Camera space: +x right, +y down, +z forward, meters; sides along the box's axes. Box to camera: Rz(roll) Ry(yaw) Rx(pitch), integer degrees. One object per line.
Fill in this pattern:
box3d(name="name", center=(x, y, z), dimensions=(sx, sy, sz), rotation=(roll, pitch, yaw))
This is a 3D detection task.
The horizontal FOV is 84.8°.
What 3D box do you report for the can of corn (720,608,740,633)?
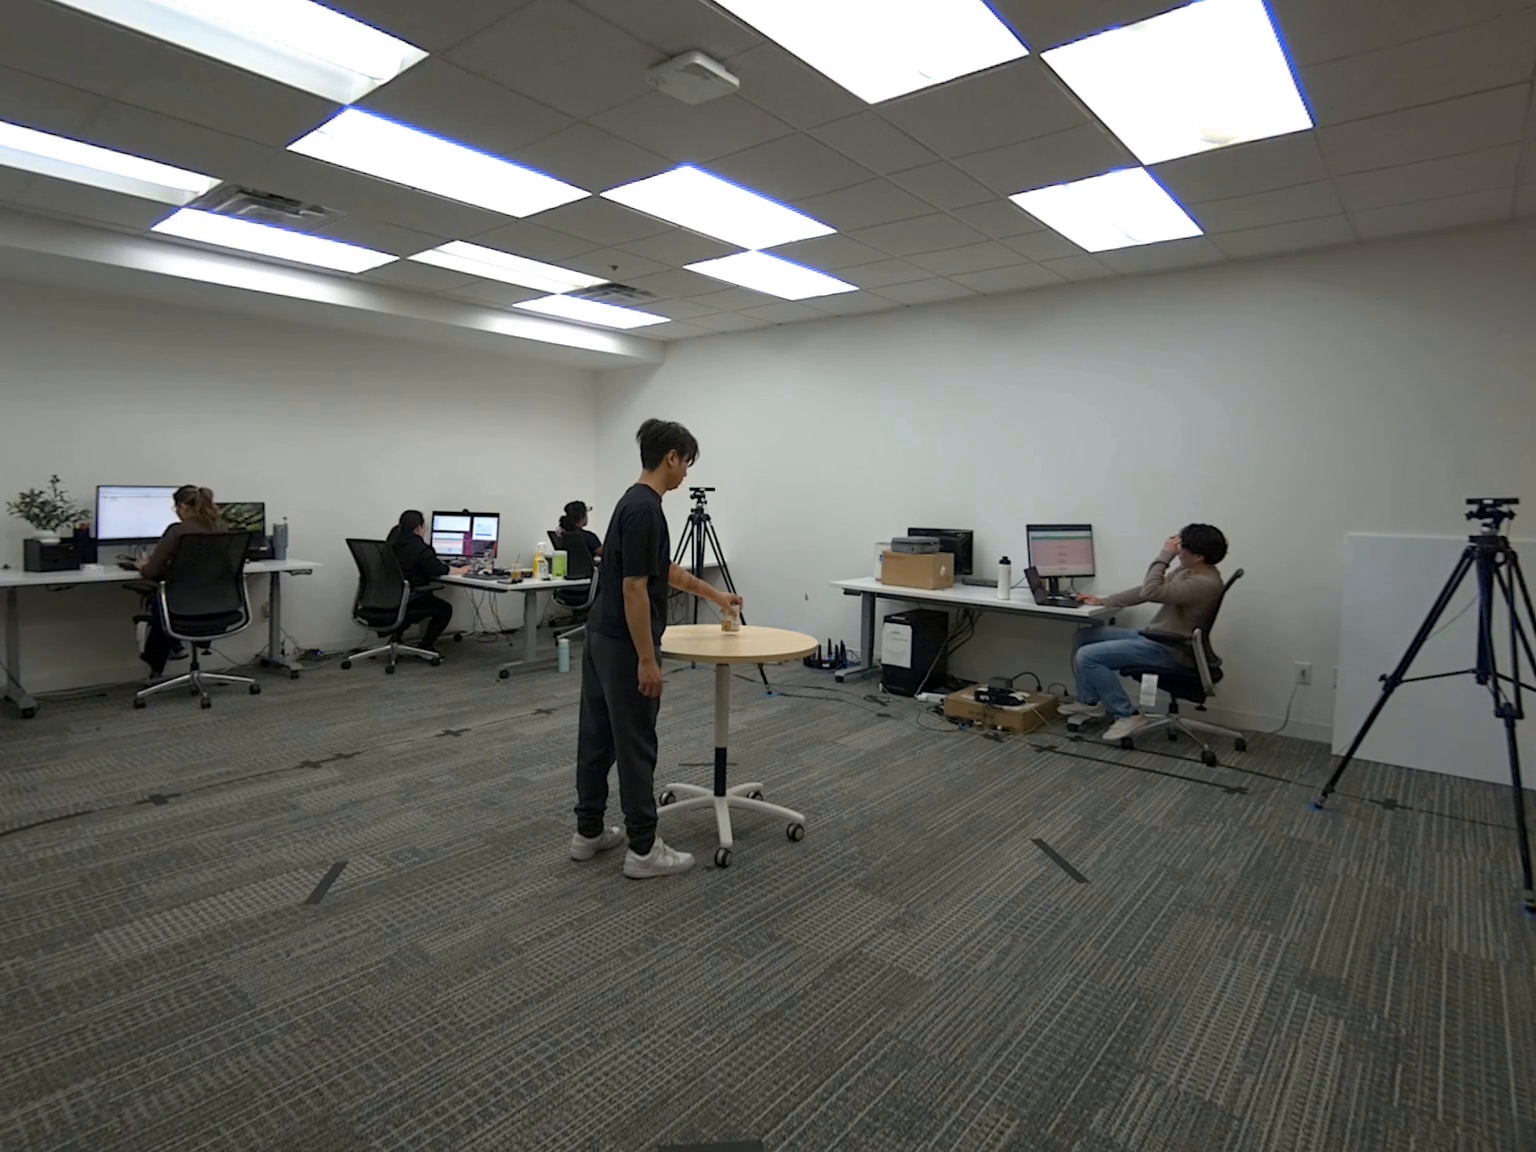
box3d(name="can of corn", center=(-0.168, 0.169, 3.570), dimensions=(0.074, 0.111, 0.074), rotation=(2, -1, -2))
